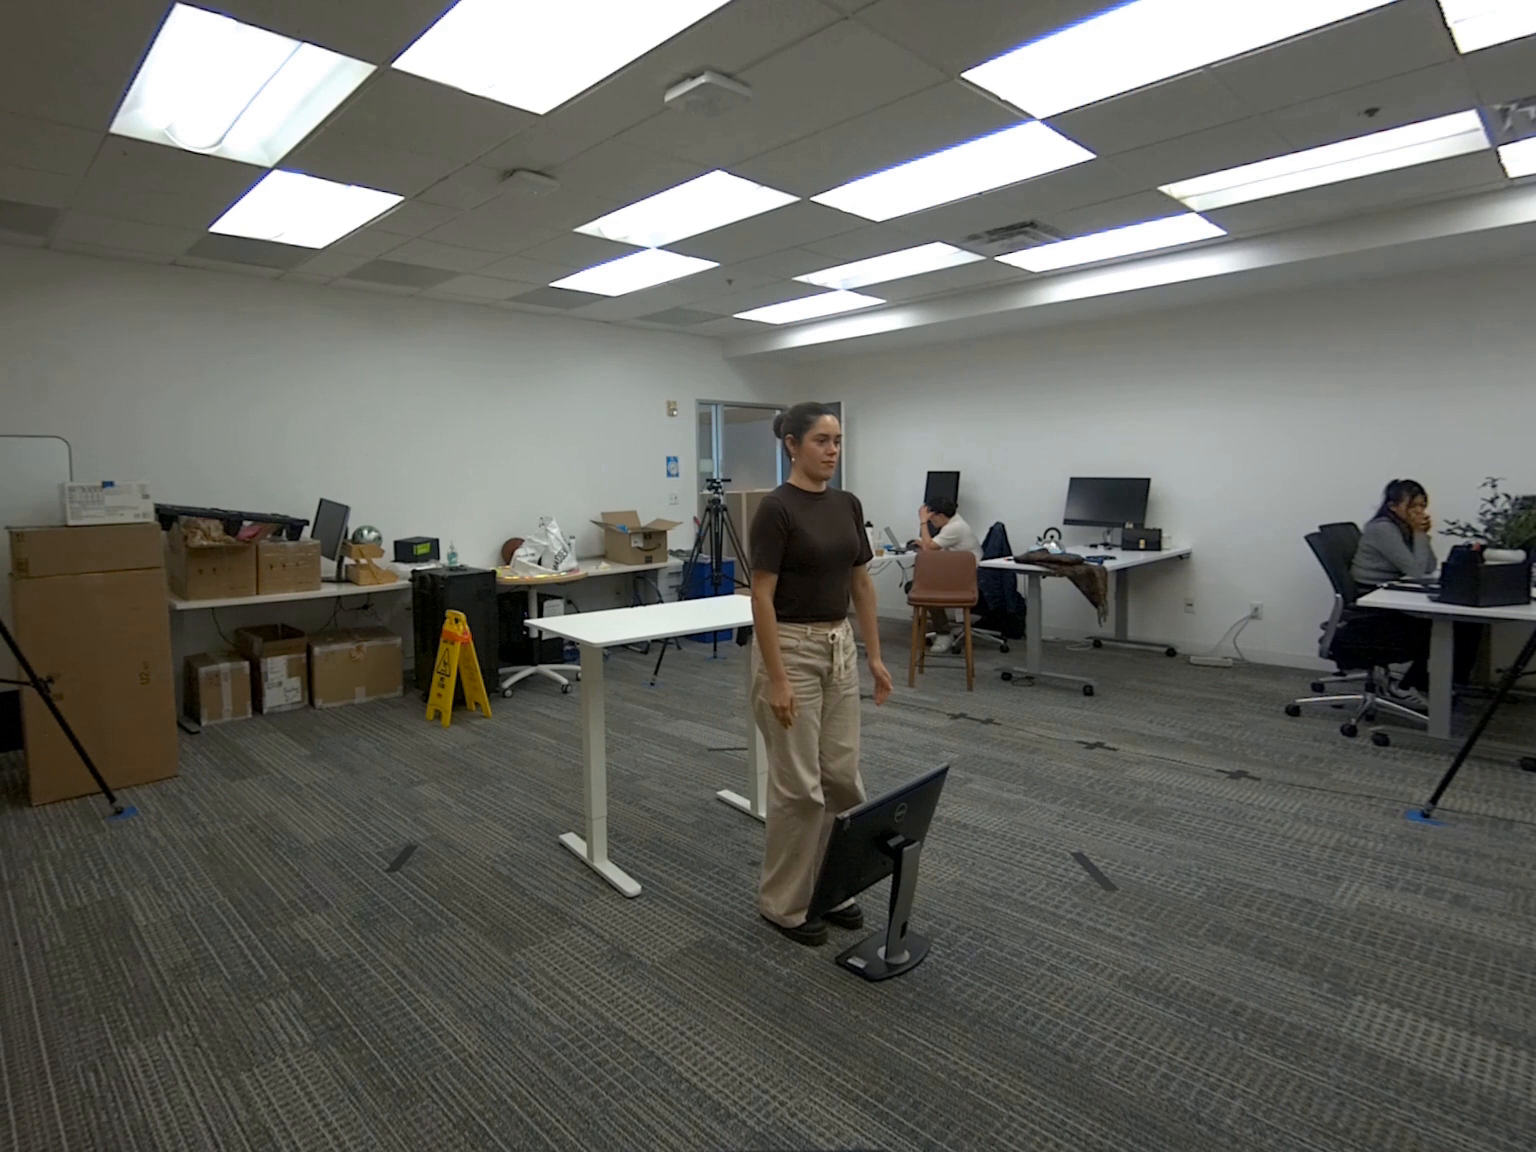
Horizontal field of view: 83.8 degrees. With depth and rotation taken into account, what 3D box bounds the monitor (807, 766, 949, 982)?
[{"bbox_3d":[0.361,0.863,2.454,0.193,0.518,0.525,11,13,44],"label":"monitor"}]
